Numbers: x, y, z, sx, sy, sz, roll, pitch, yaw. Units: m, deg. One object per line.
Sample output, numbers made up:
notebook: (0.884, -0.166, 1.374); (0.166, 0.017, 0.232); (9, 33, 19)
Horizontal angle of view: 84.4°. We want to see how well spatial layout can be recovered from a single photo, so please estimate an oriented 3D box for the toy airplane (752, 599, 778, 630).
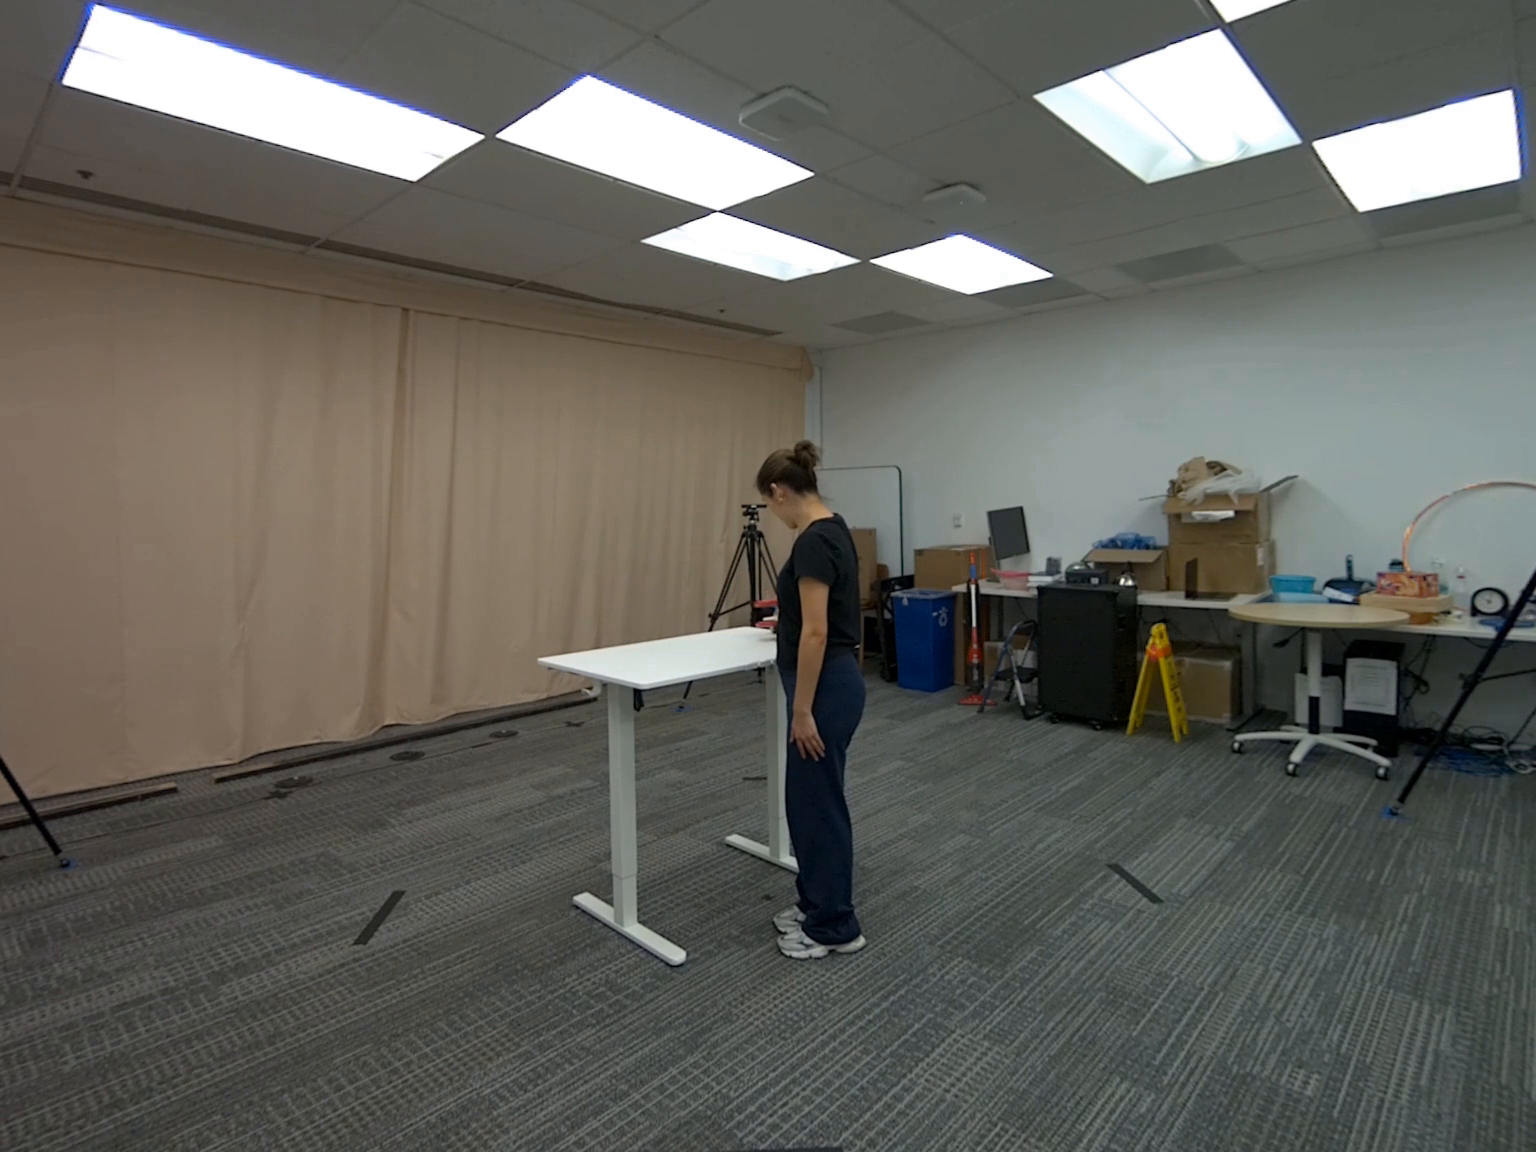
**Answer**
toy airplane: (0.068, 0.158, 3.231); (0.243, 0.156, 0.268); (-5, 7, -42)
